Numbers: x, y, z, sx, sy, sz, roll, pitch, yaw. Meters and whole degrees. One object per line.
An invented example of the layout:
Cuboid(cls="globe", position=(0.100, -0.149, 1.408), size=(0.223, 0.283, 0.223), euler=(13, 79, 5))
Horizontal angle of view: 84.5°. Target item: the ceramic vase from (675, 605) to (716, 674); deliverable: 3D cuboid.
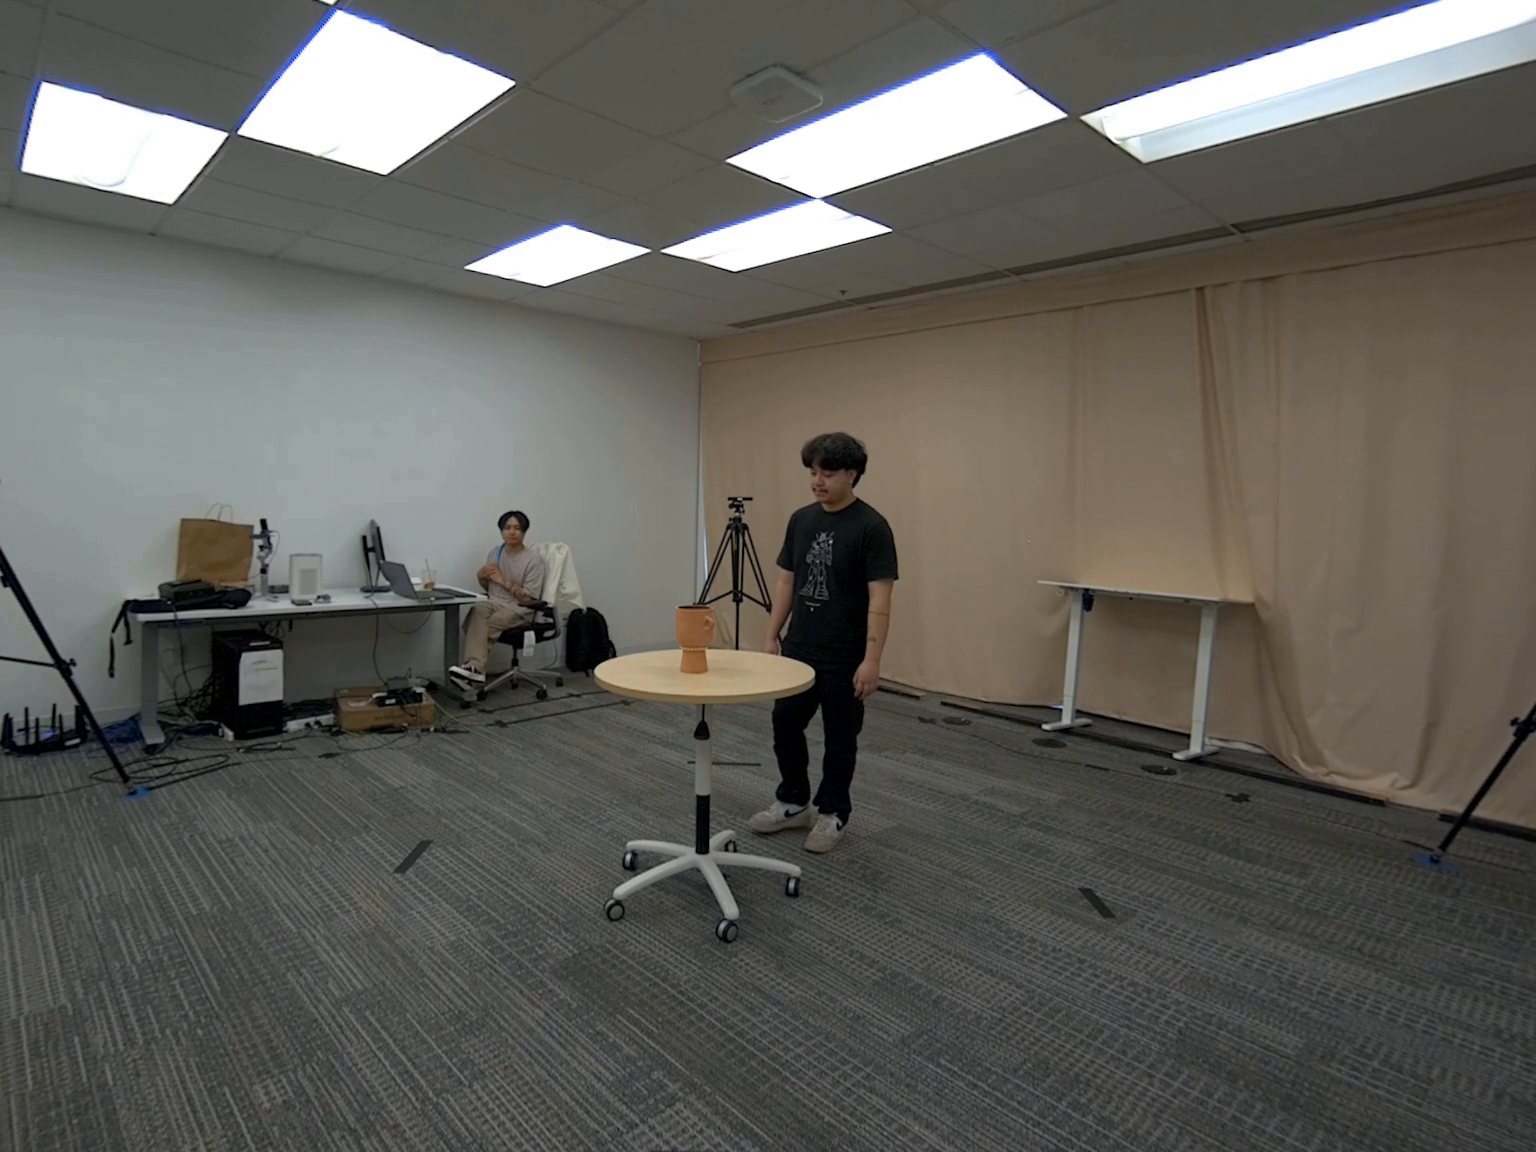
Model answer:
Cuboid(cls="ceramic vase", position=(-0.264, 0.221, 2.909), size=(0.134, 0.219, 0.160), euler=(1, 5, -6))
